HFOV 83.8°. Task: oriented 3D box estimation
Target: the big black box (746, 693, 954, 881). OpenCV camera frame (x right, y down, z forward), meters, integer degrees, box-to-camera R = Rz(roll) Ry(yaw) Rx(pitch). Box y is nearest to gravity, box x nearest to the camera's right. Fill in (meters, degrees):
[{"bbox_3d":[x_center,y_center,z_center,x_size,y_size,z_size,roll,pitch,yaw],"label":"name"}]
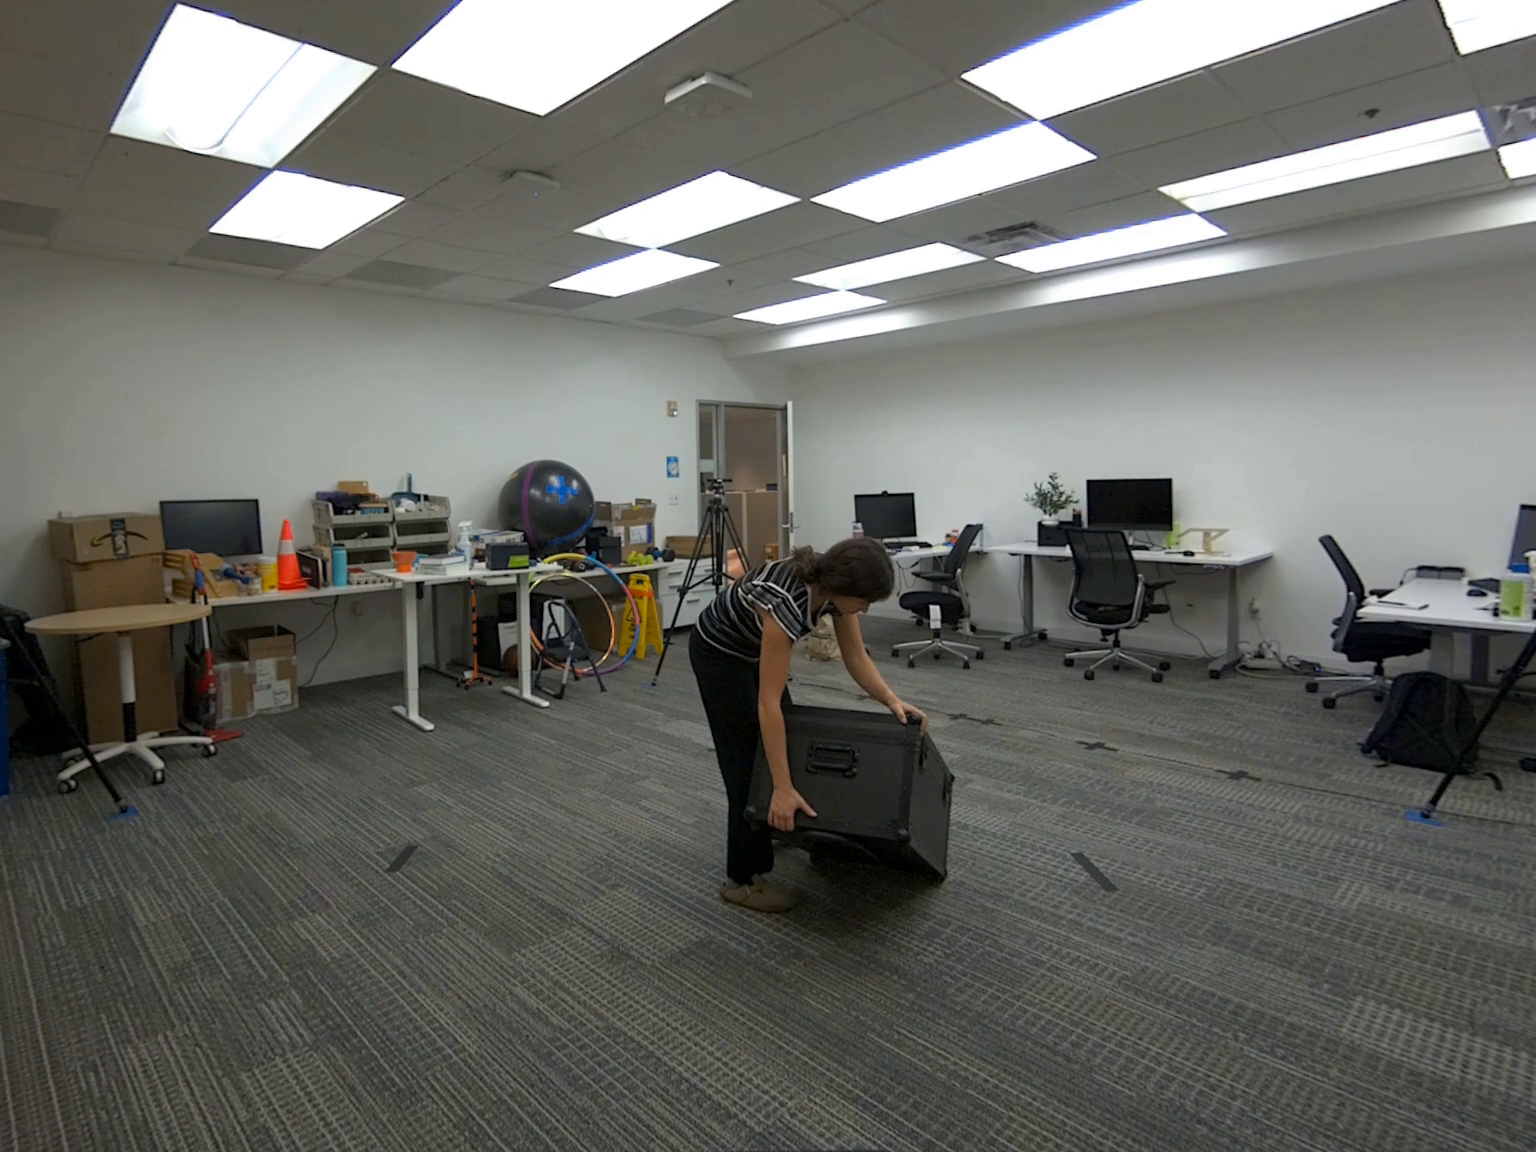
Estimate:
[{"bbox_3d":[0.326,0.748,2.832,0.532,0.402,0.831,1,-24,21],"label":"big black box"}]
